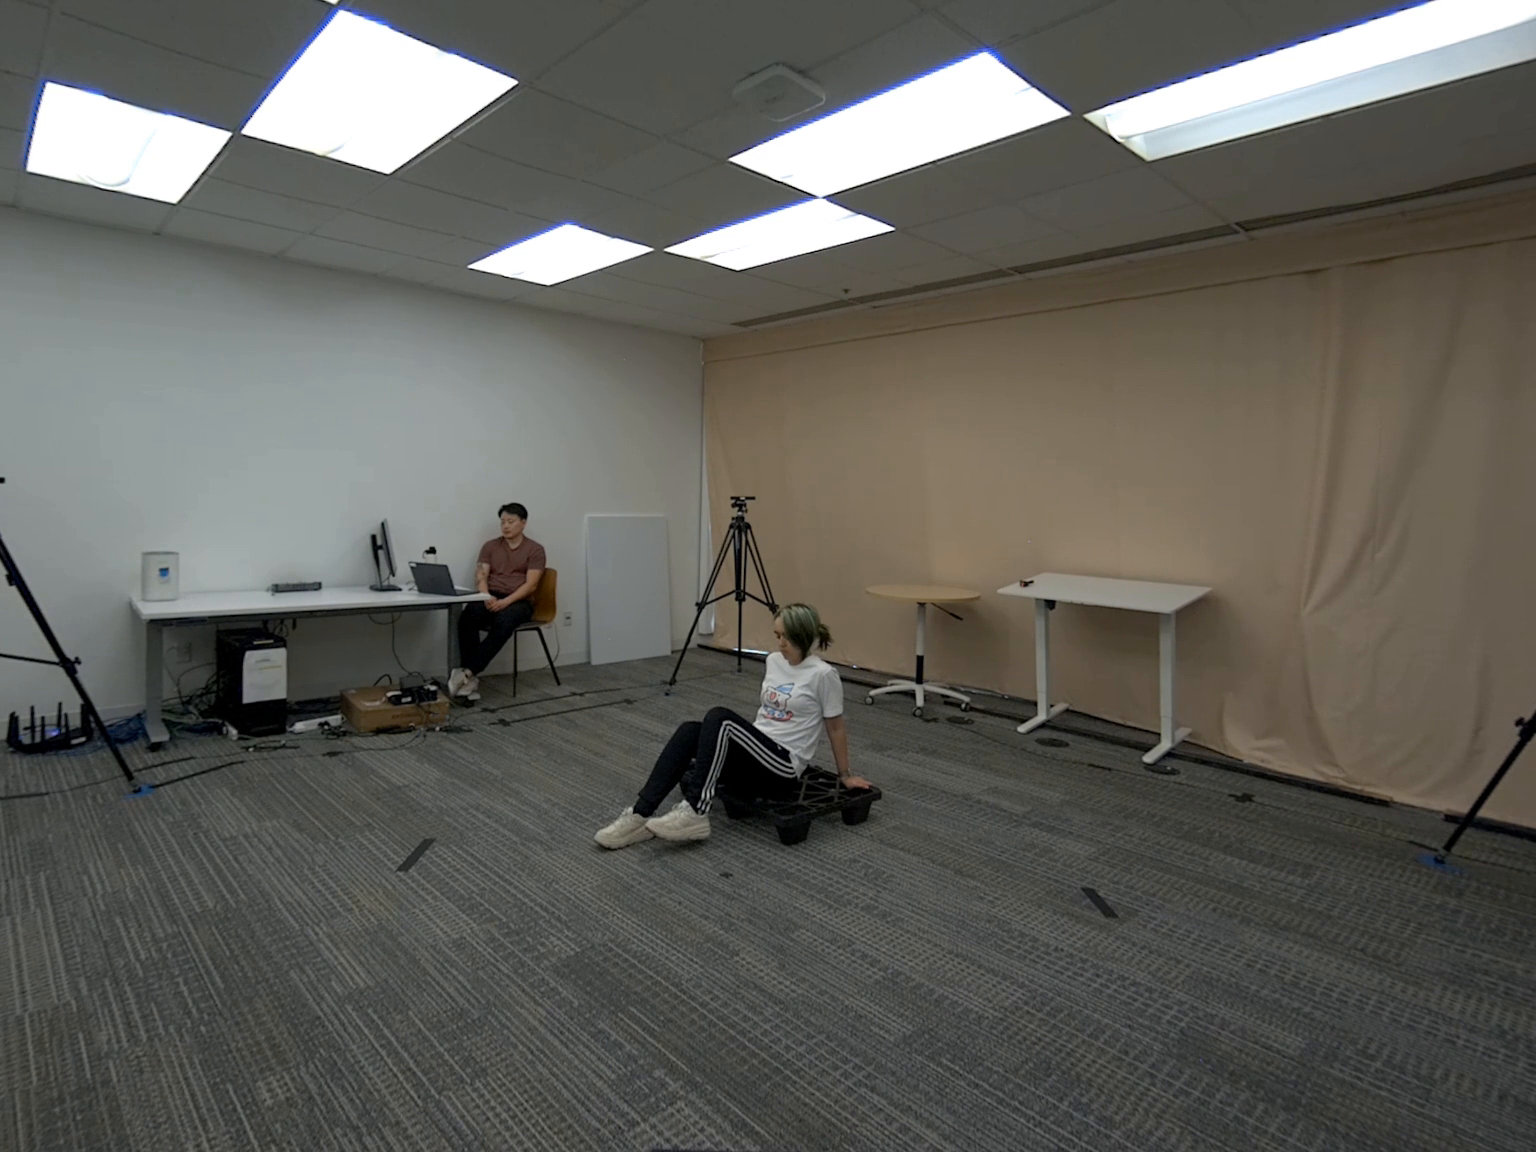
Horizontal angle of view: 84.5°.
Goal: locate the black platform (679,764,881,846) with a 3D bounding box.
[{"bbox_3d":[0.012,0.980,3.803,0.592,0.143,0.826,-3,6,-39],"label":"black platform"}]
